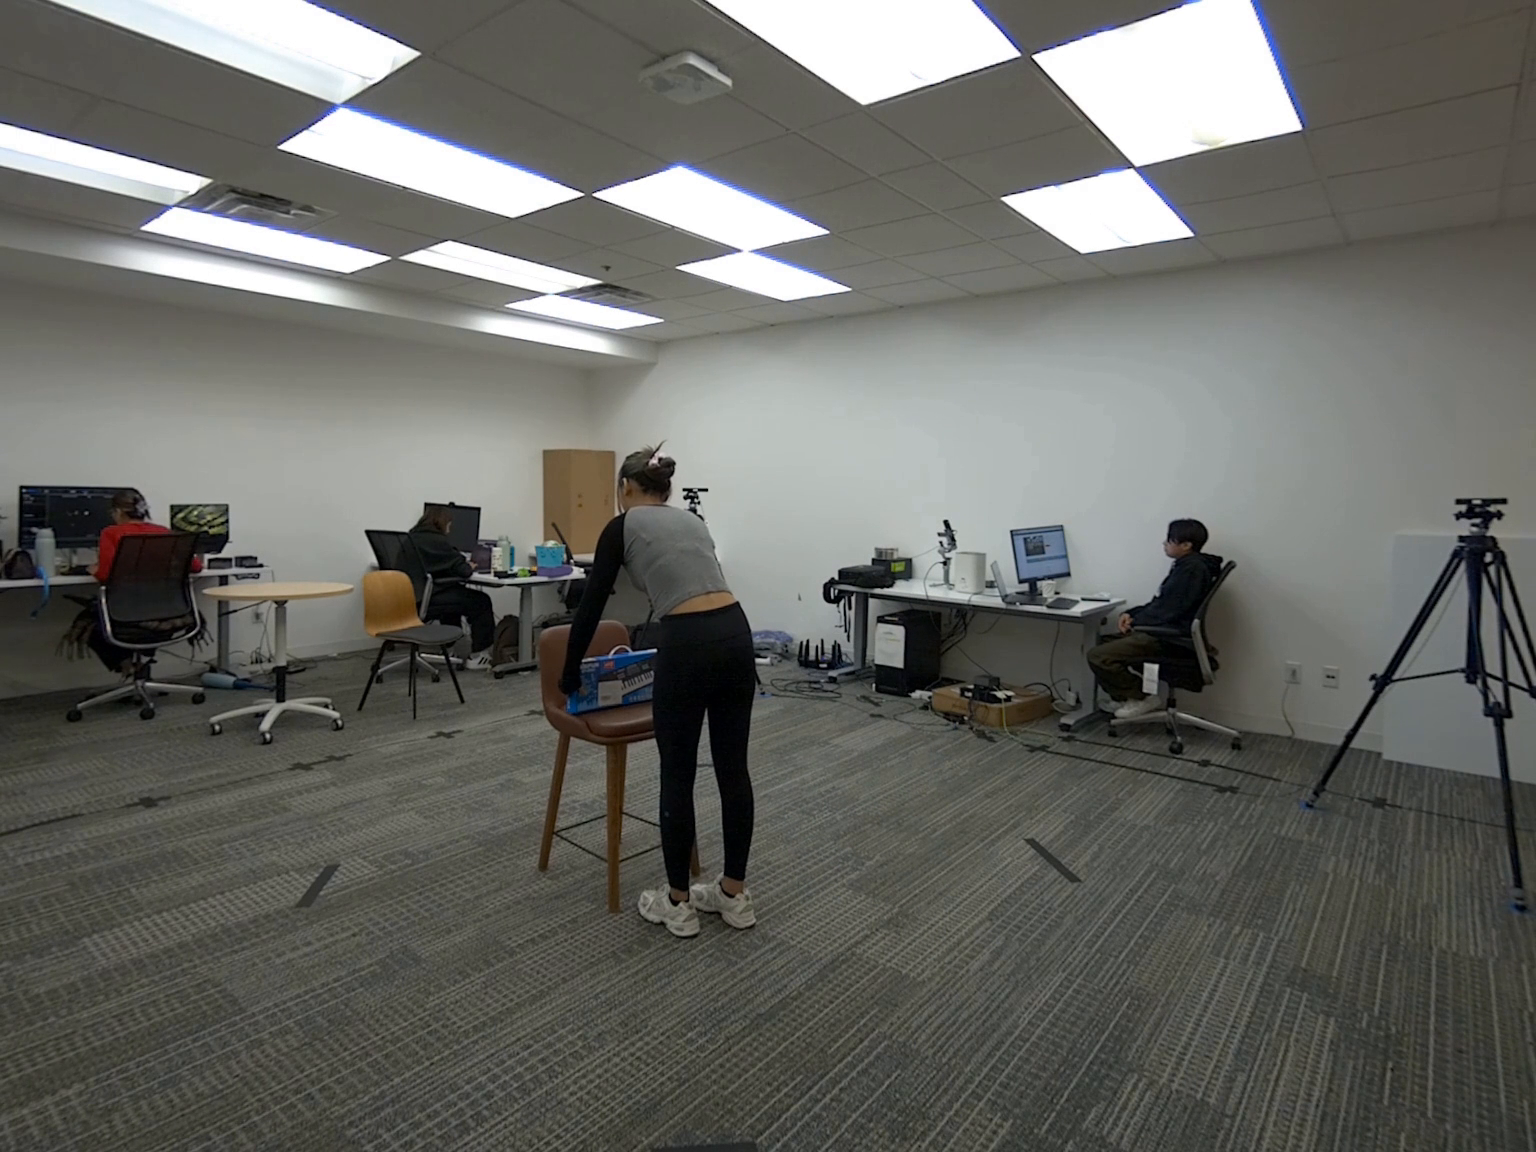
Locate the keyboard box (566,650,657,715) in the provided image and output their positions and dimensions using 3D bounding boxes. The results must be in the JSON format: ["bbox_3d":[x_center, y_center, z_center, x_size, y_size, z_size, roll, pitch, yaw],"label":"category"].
[{"bbox_3d":[-0.537,0.371,3.043,0.423,0.176,0.061,-3,1,-44],"label":"keyboard box"}]
